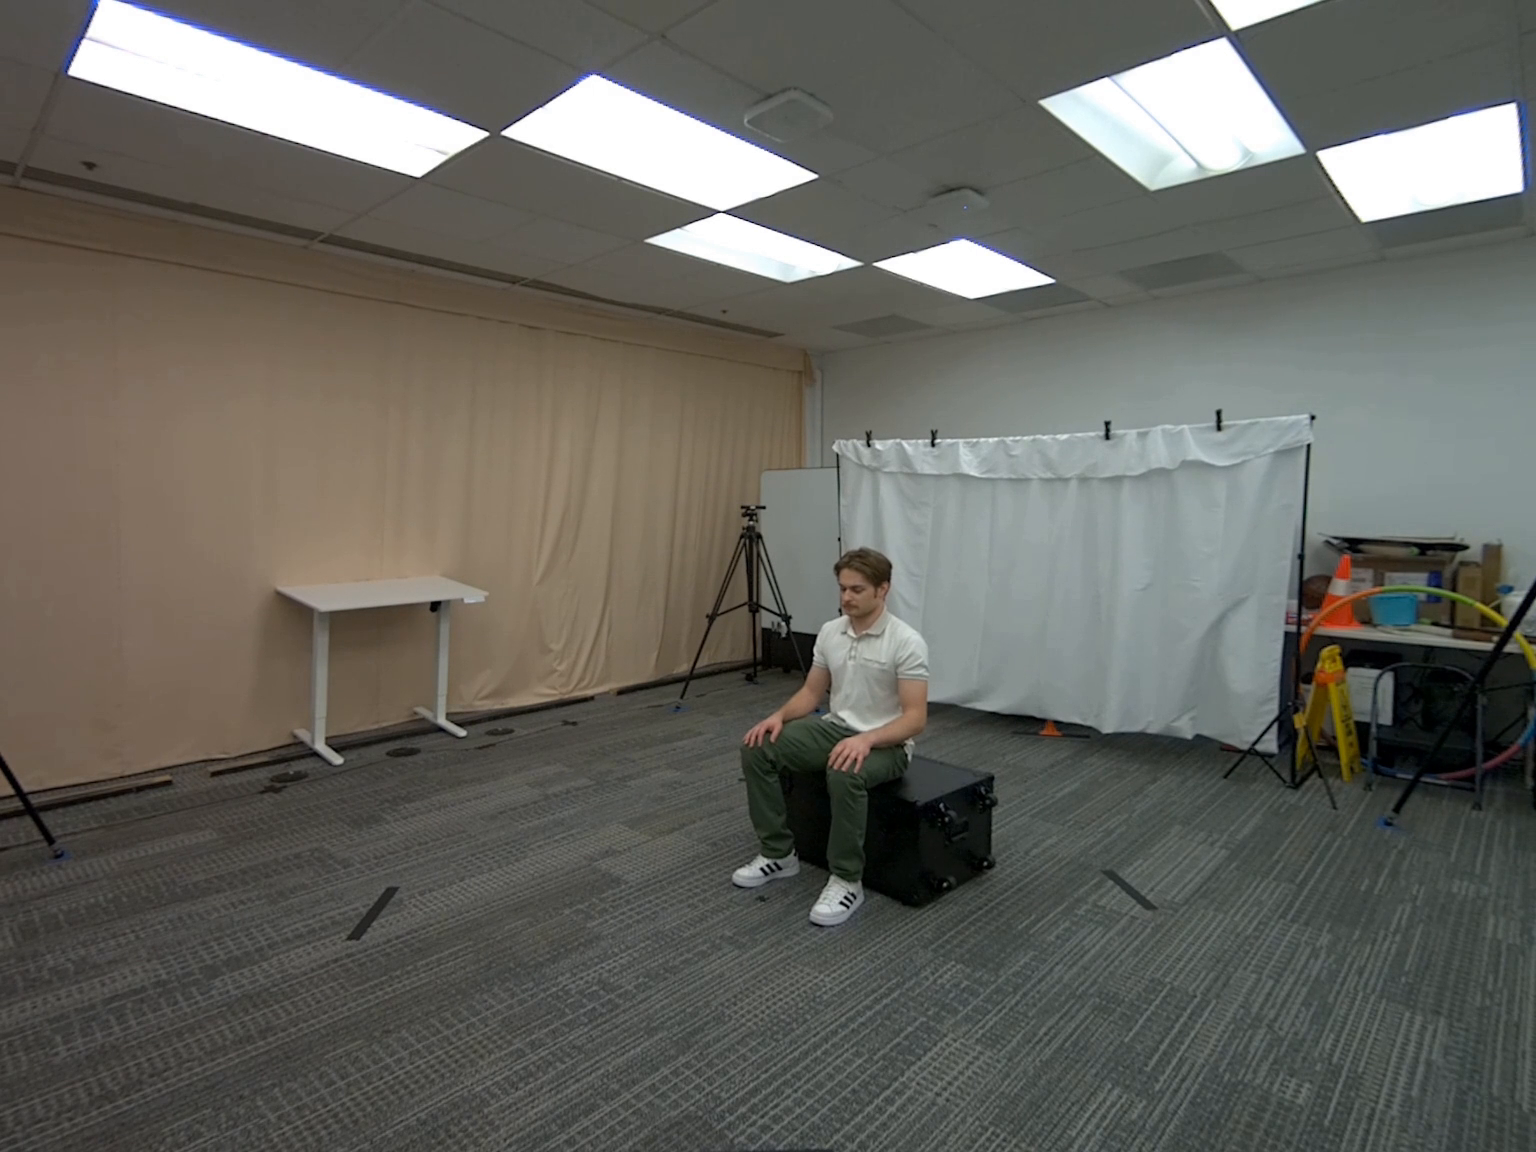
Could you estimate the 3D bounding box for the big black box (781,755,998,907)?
[{"bbox_3d":[0.433,0.925,3.292,0.507,0.384,0.897,-2,5,-44],"label":"big black box"}]
